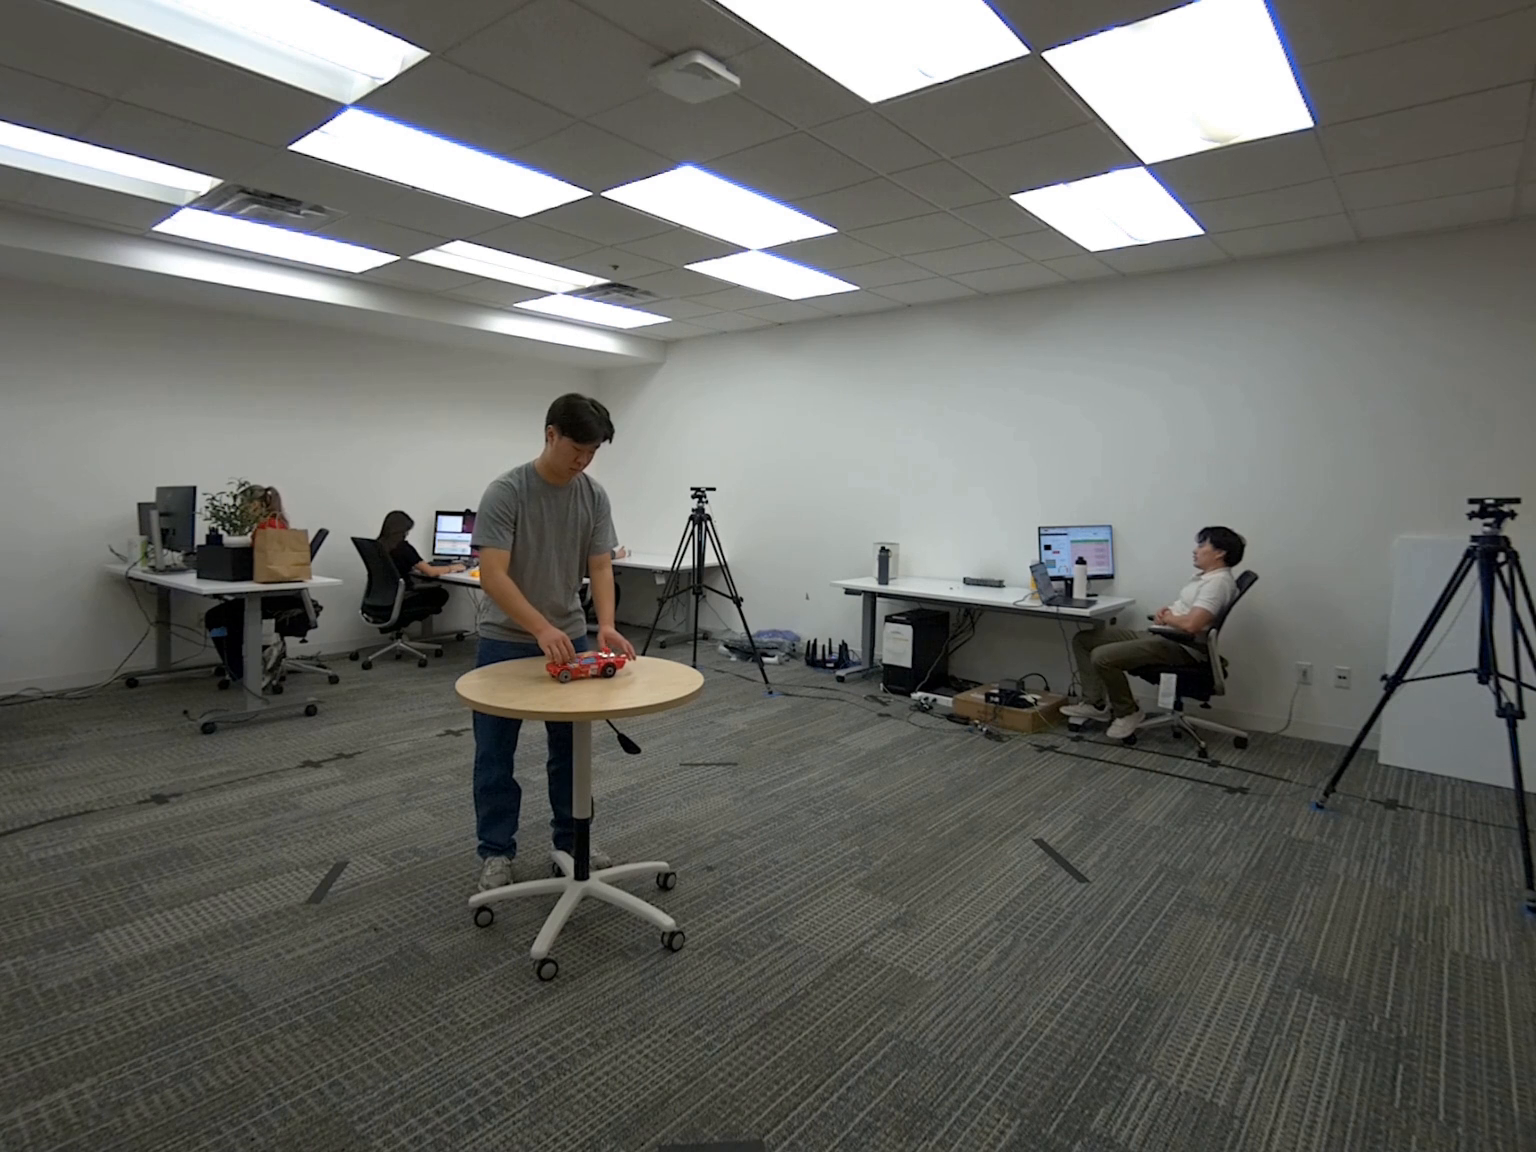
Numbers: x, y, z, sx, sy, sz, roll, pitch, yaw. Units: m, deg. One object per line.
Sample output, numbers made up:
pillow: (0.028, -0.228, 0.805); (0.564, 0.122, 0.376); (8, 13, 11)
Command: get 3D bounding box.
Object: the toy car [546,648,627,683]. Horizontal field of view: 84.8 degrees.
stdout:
toy car: (-0.587, 0.291, 2.691); (0.250, 0.082, 0.134); (-15, 11, -27)
